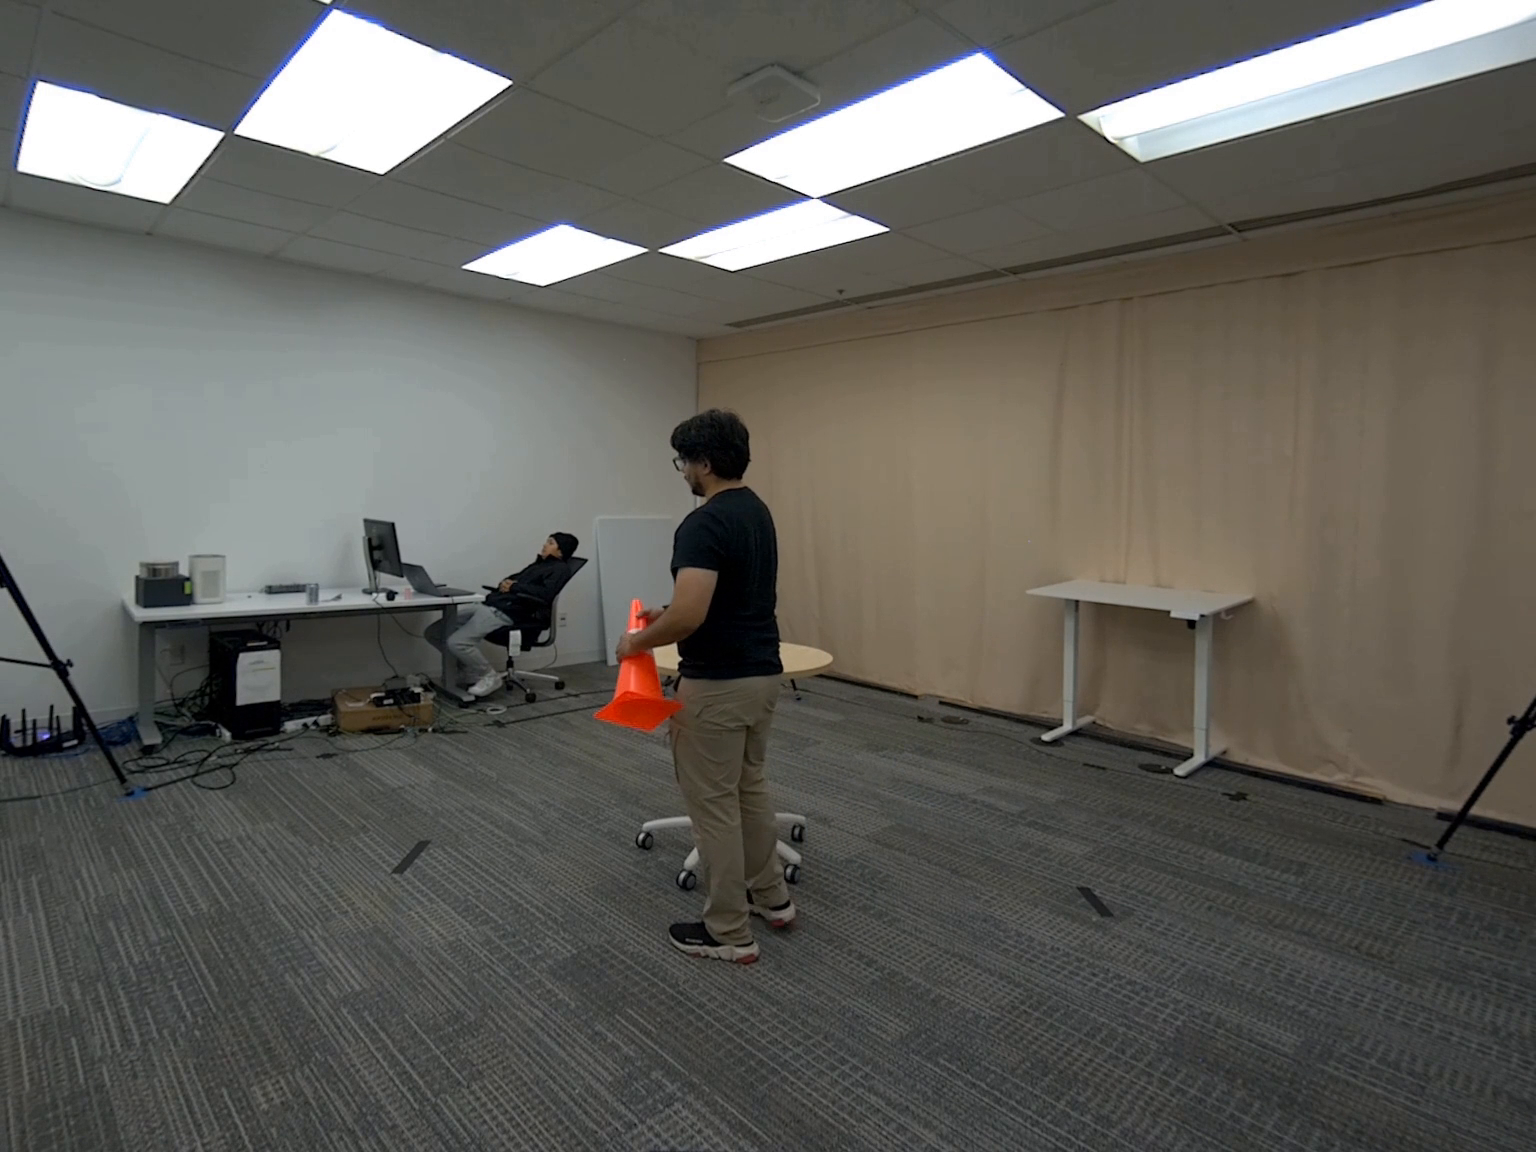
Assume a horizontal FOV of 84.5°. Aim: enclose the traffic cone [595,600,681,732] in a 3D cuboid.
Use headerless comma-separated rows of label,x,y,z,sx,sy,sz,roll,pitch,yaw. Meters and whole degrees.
traffic cone,-0.396,0.239,2.564,0.198,0.393,0.205,21,-45,-32
